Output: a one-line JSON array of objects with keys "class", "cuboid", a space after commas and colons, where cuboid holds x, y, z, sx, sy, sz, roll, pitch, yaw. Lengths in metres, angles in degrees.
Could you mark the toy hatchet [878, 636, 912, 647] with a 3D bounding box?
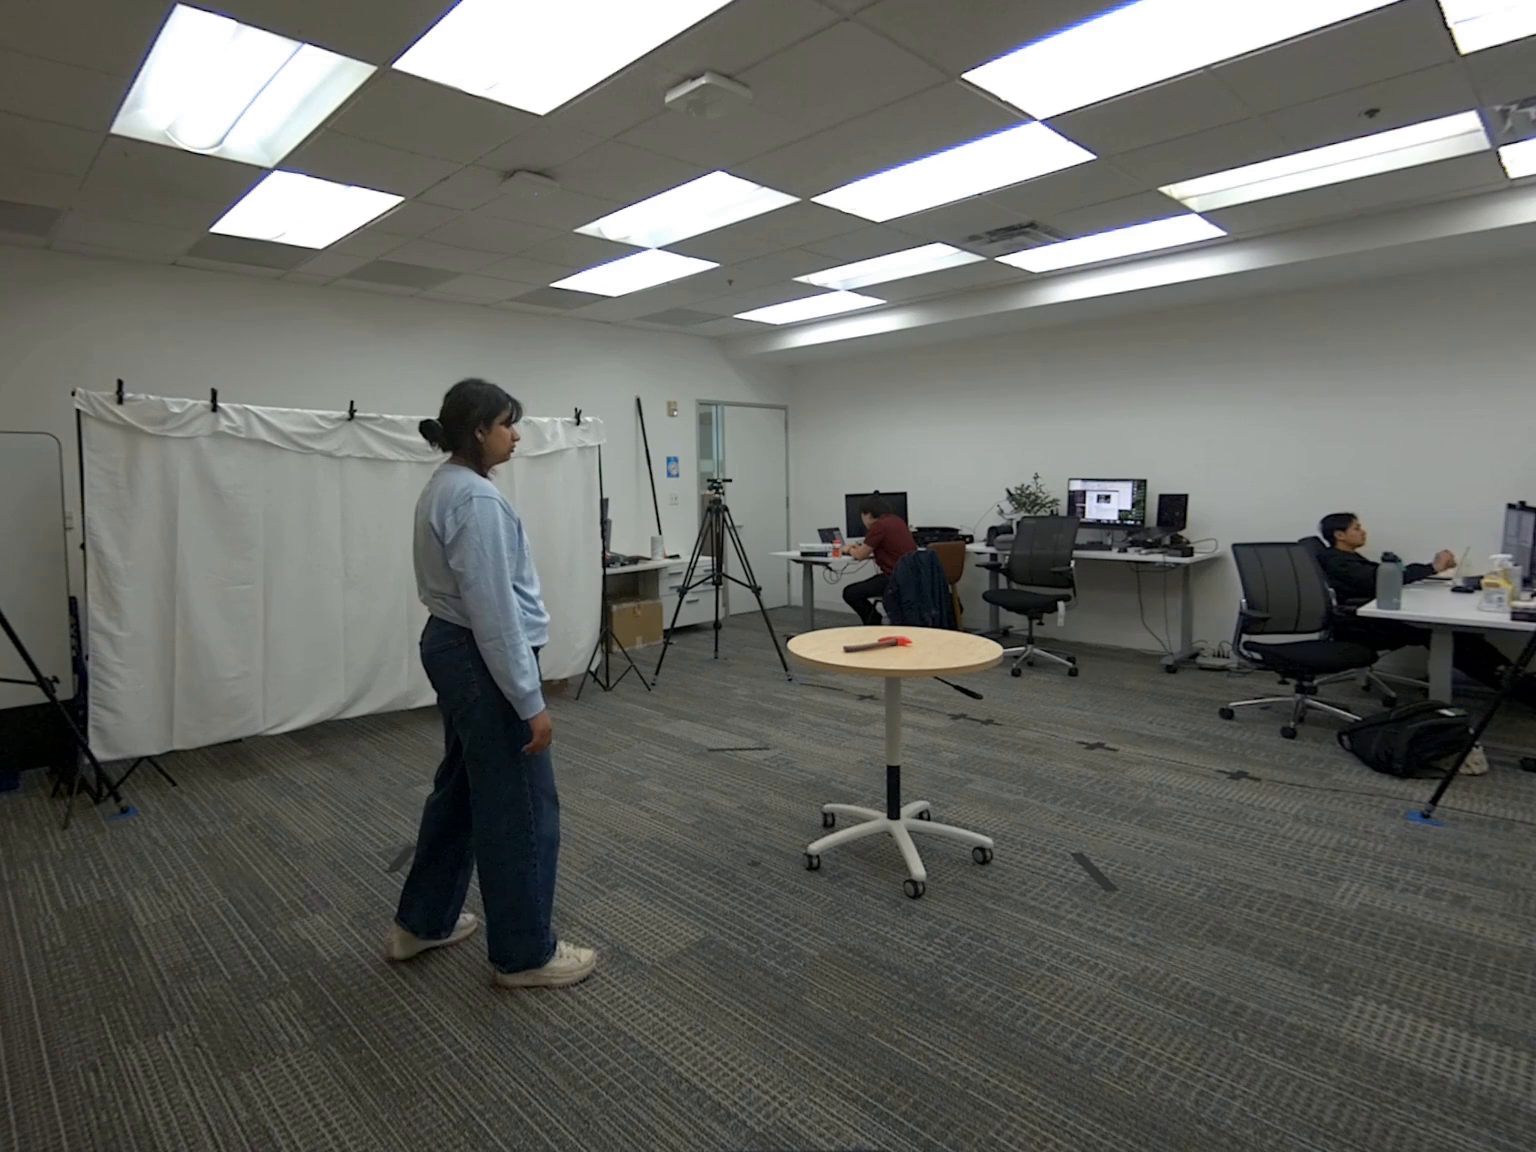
[{"class": "toy hatchet", "cuboid": [0.383, 0.242, 3.087, 0.266, 0.029, 0.134, -4, 7, -18]}]
